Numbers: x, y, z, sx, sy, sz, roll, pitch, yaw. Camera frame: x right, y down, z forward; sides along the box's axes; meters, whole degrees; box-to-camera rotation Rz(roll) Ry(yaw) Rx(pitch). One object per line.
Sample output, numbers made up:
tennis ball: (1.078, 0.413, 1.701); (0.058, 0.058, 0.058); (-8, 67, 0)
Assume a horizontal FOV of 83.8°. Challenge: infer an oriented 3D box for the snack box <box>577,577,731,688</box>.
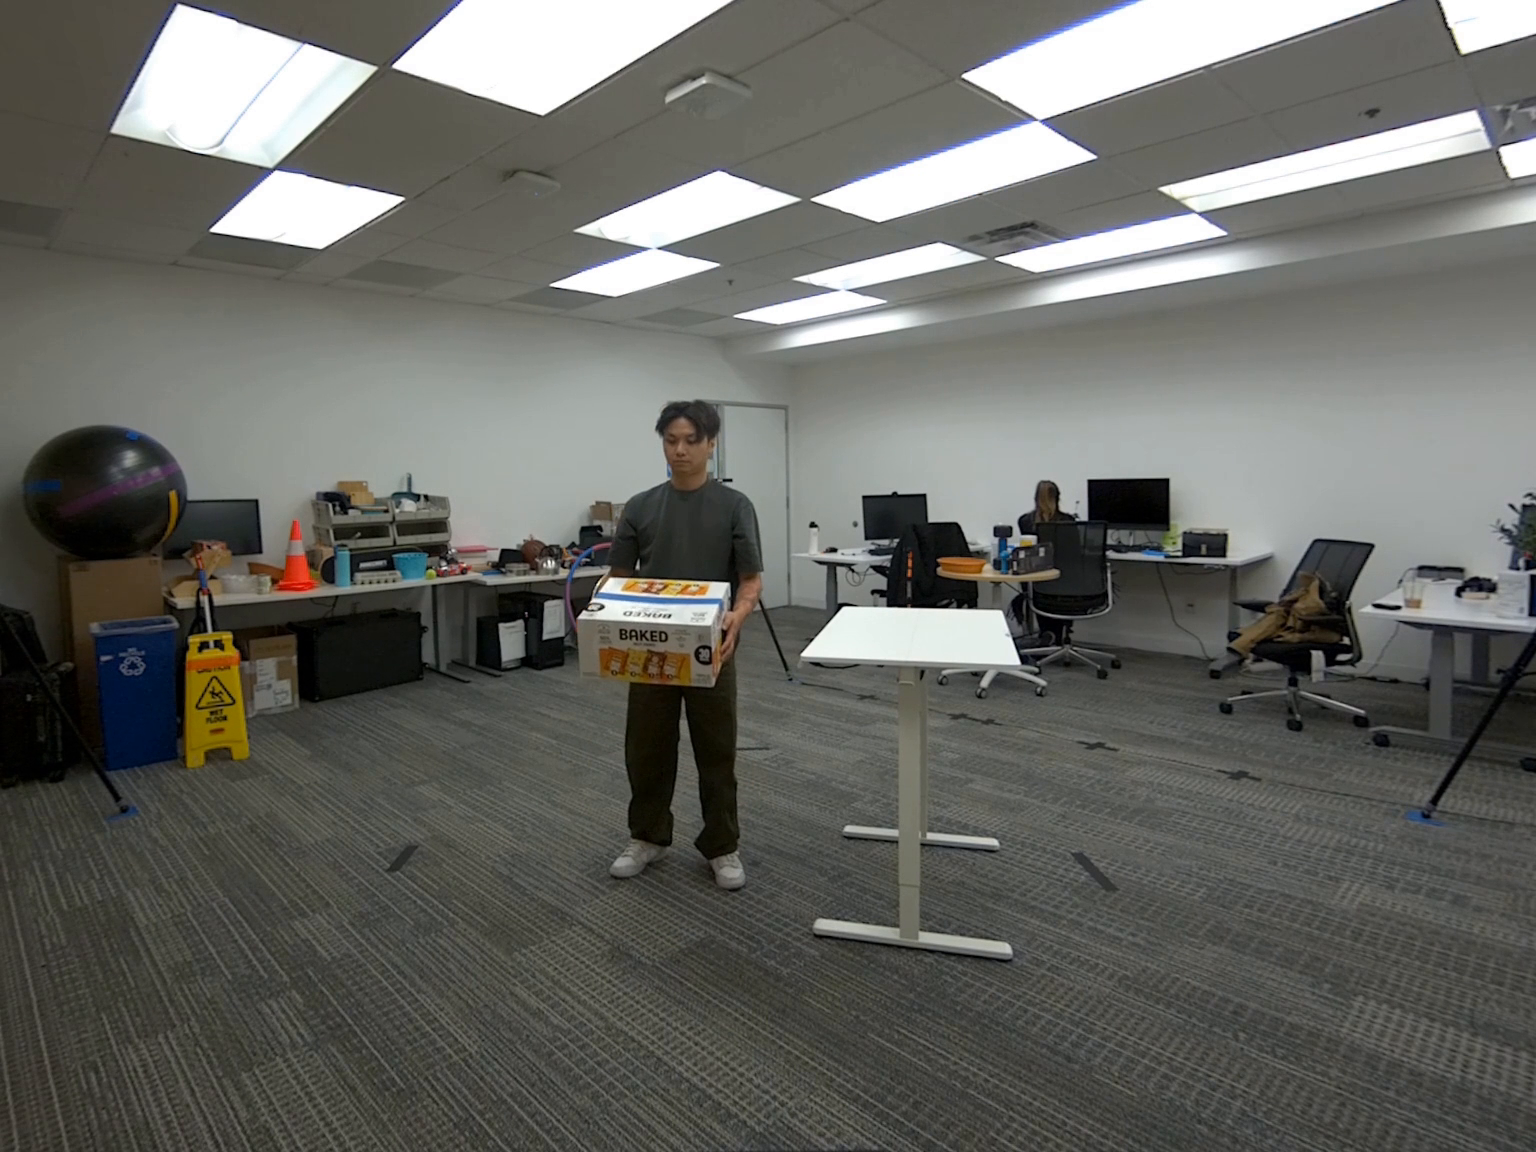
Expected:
snack box: (-0.343, 0.164, 2.659); (0.409, 0.202, 0.343); (2, 19, 8)
